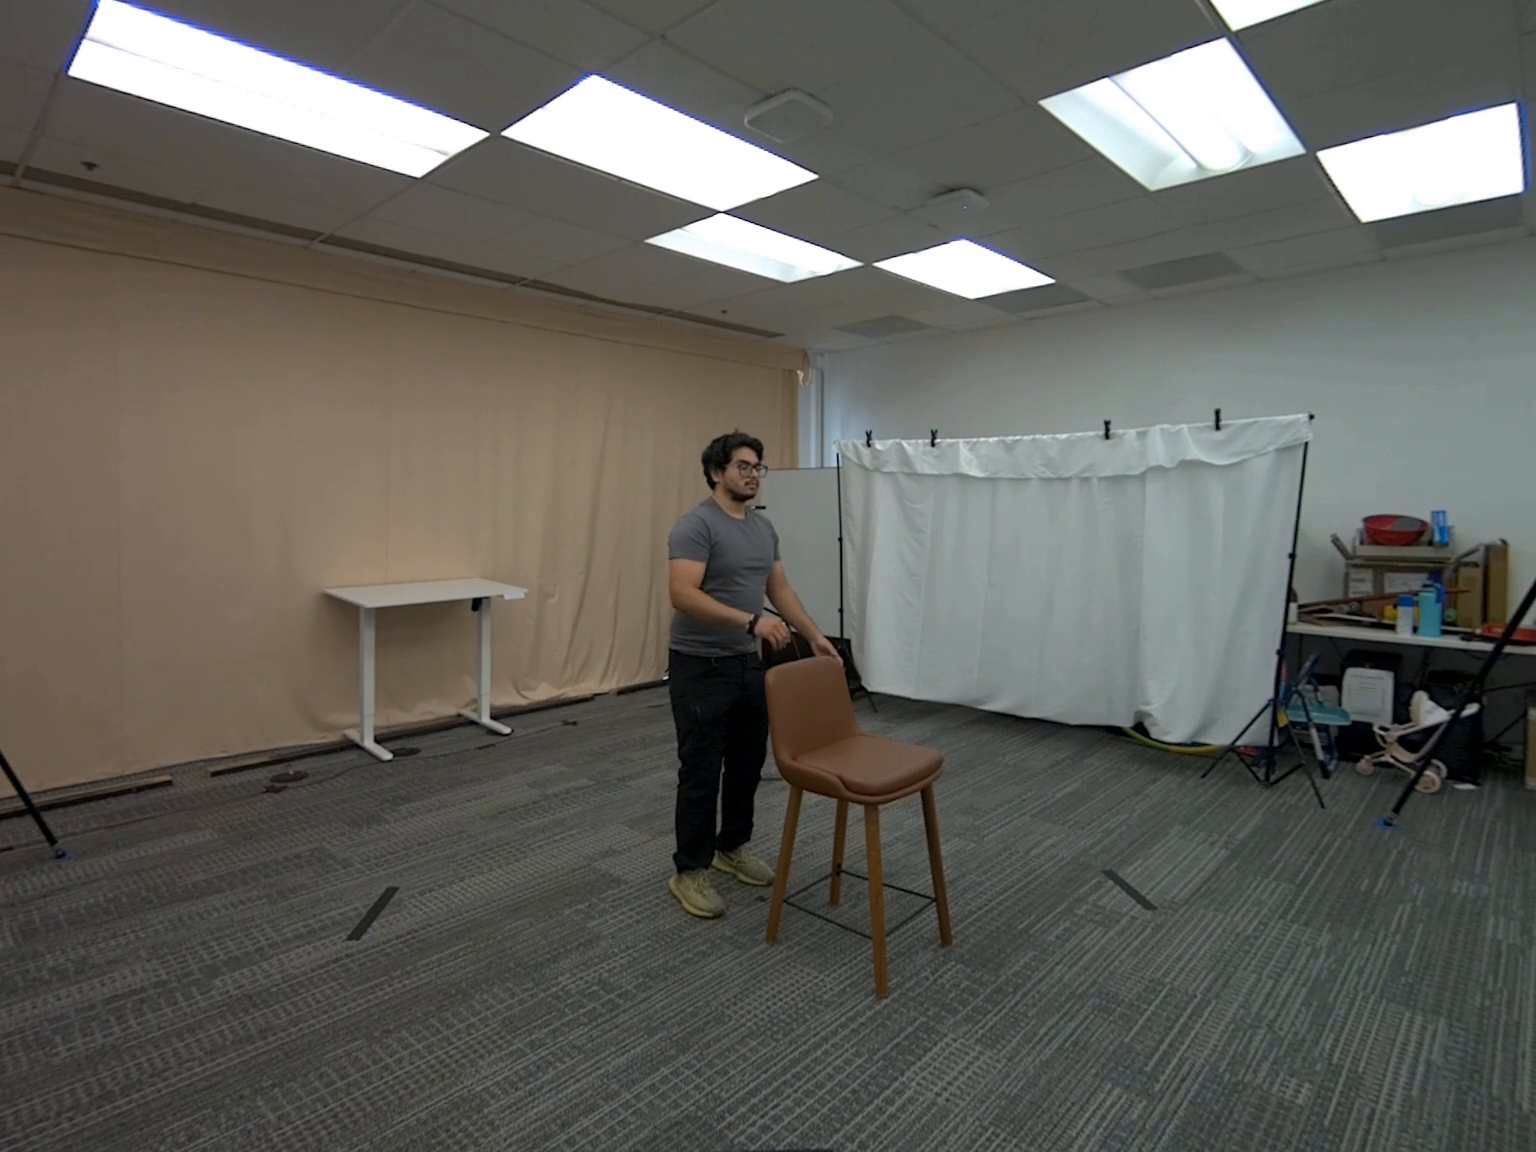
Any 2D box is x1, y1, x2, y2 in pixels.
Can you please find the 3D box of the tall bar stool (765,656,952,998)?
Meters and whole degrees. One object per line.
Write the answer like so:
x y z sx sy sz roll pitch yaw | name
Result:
0.276 0.731 2.660 0.483 0.888 0.442 0 3 42 | tall bar stool
